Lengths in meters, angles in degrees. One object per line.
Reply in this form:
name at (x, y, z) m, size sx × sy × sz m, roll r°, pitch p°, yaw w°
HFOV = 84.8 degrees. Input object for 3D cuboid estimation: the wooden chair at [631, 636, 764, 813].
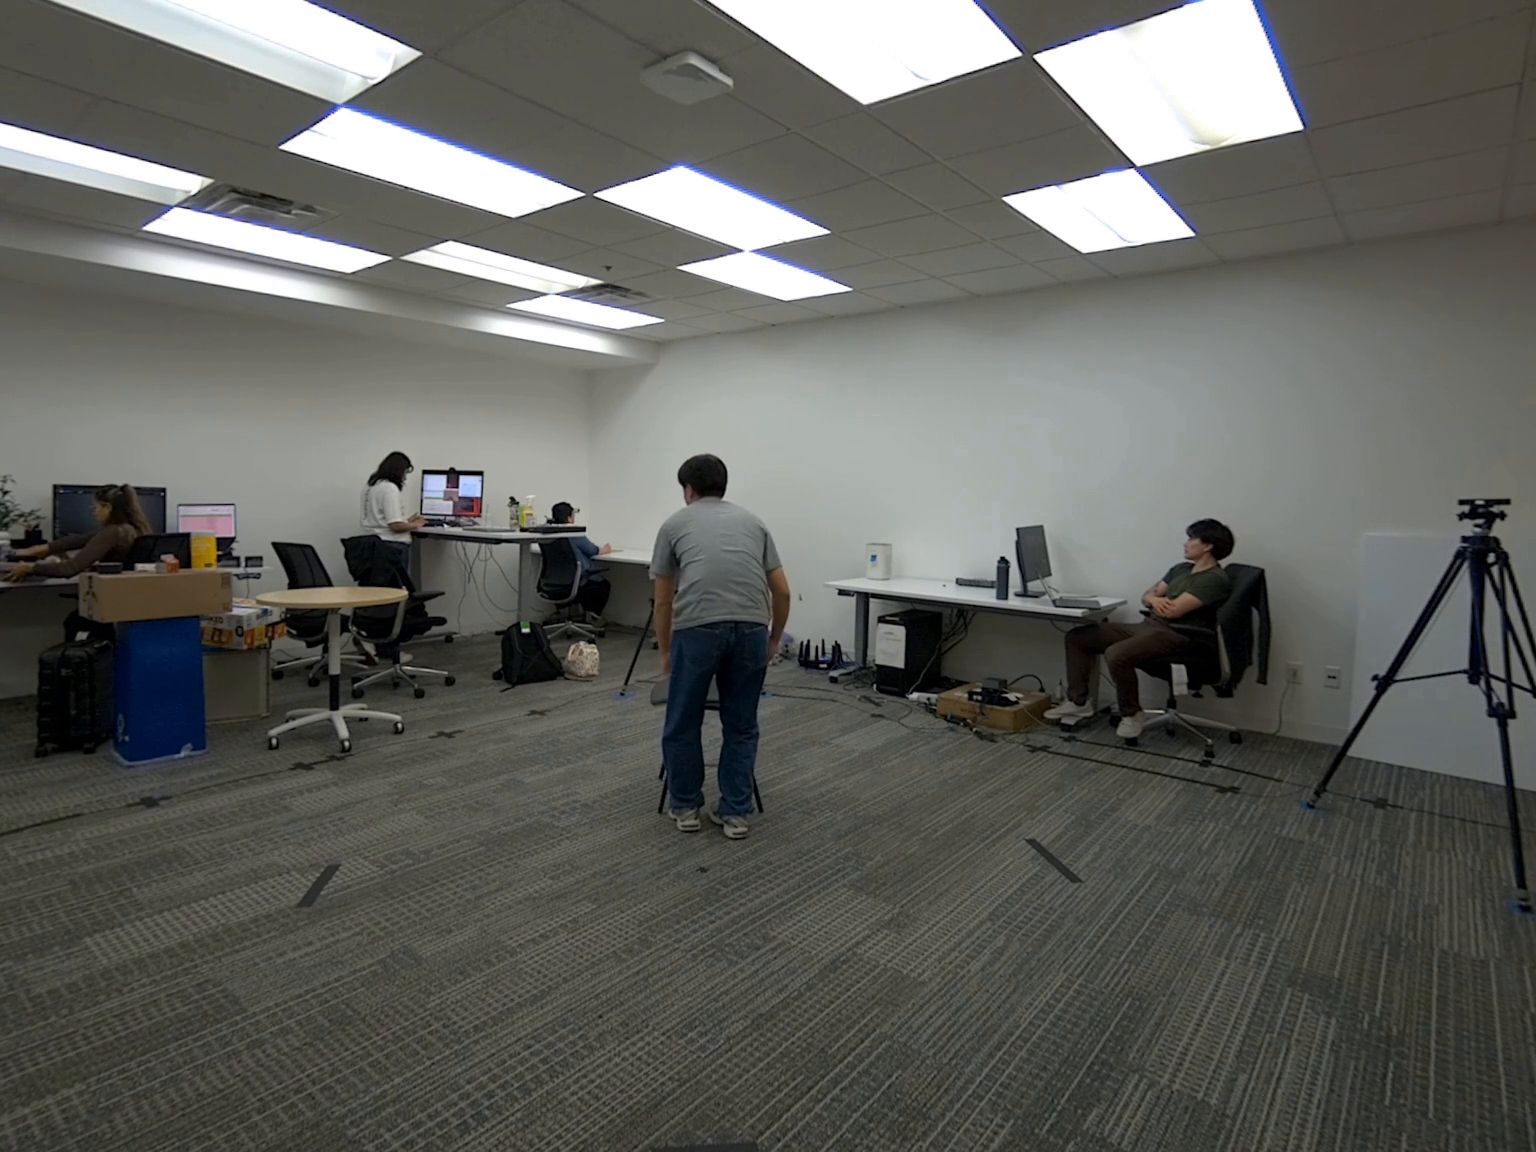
wooden chair at (-0.286, 0.567, 3.848) m, size 0.520 × 0.875 × 0.482 m, roll 5°, pitch 3°, yaw -6°
